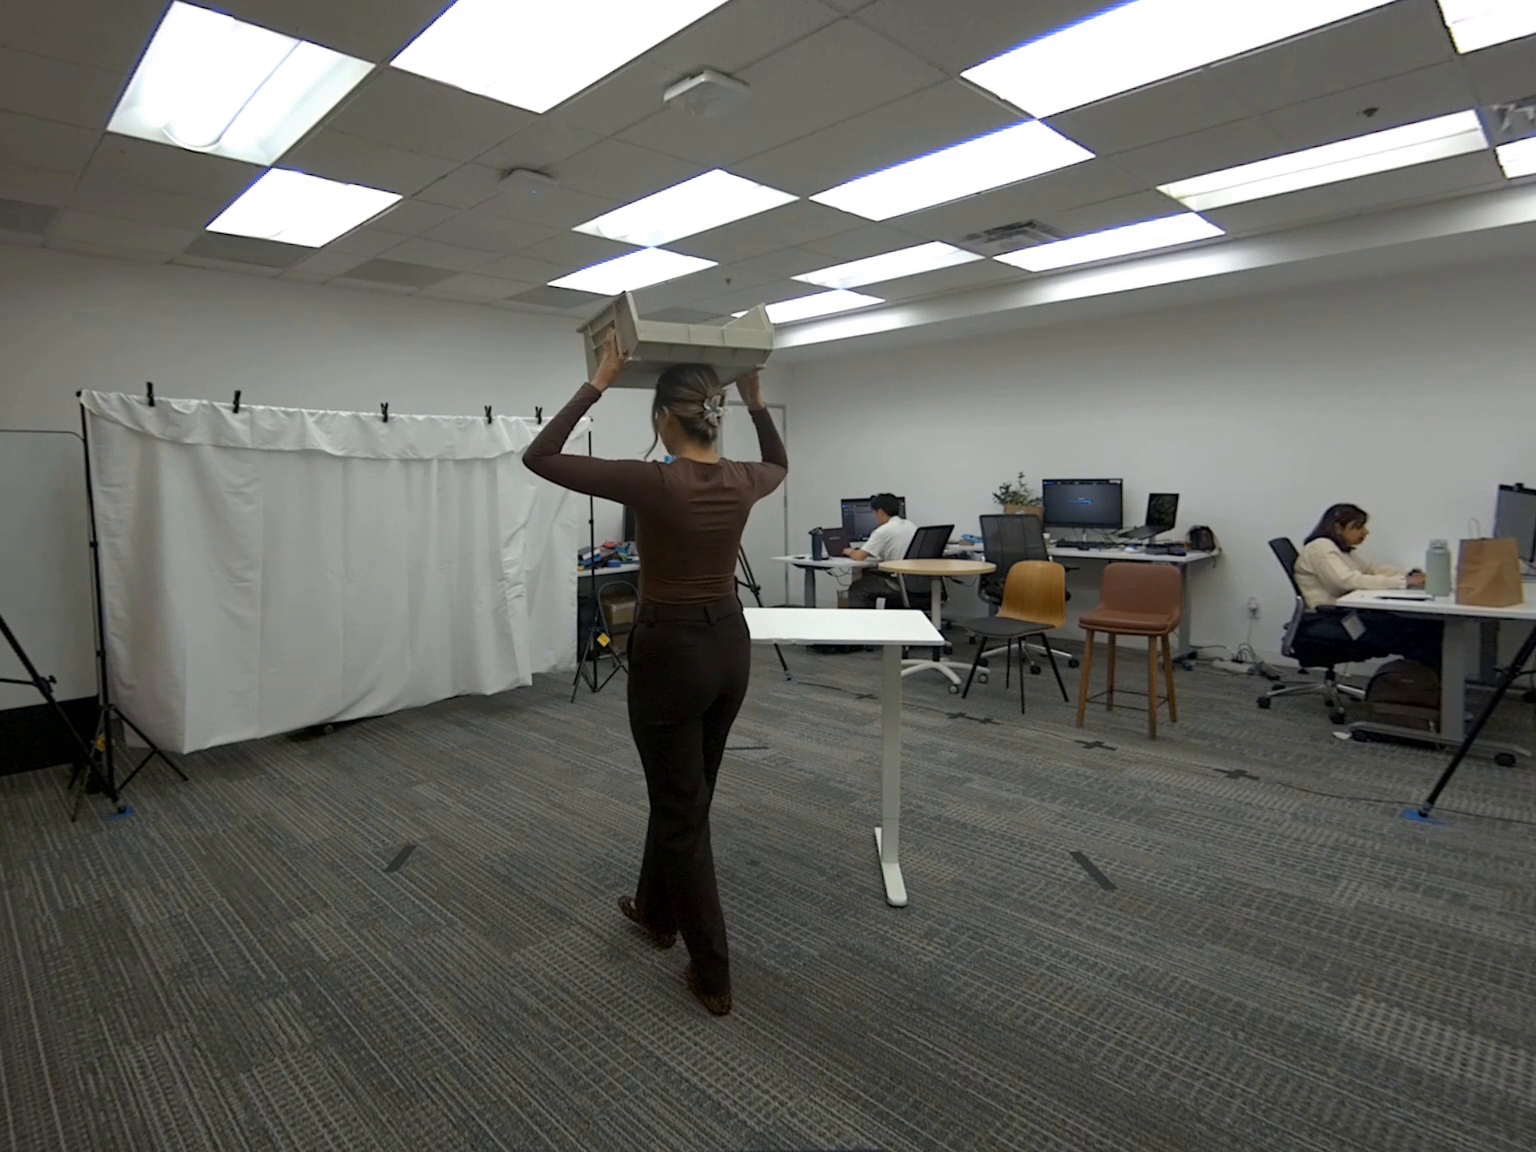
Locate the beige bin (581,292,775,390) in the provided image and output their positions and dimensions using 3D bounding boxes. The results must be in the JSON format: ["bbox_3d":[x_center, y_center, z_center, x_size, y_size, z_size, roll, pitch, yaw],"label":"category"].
[{"bbox_3d":[-0.255,-0.638,2.367,0.412,0.189,0.385,-6,-1,-32],"label":"beige bin"}]
